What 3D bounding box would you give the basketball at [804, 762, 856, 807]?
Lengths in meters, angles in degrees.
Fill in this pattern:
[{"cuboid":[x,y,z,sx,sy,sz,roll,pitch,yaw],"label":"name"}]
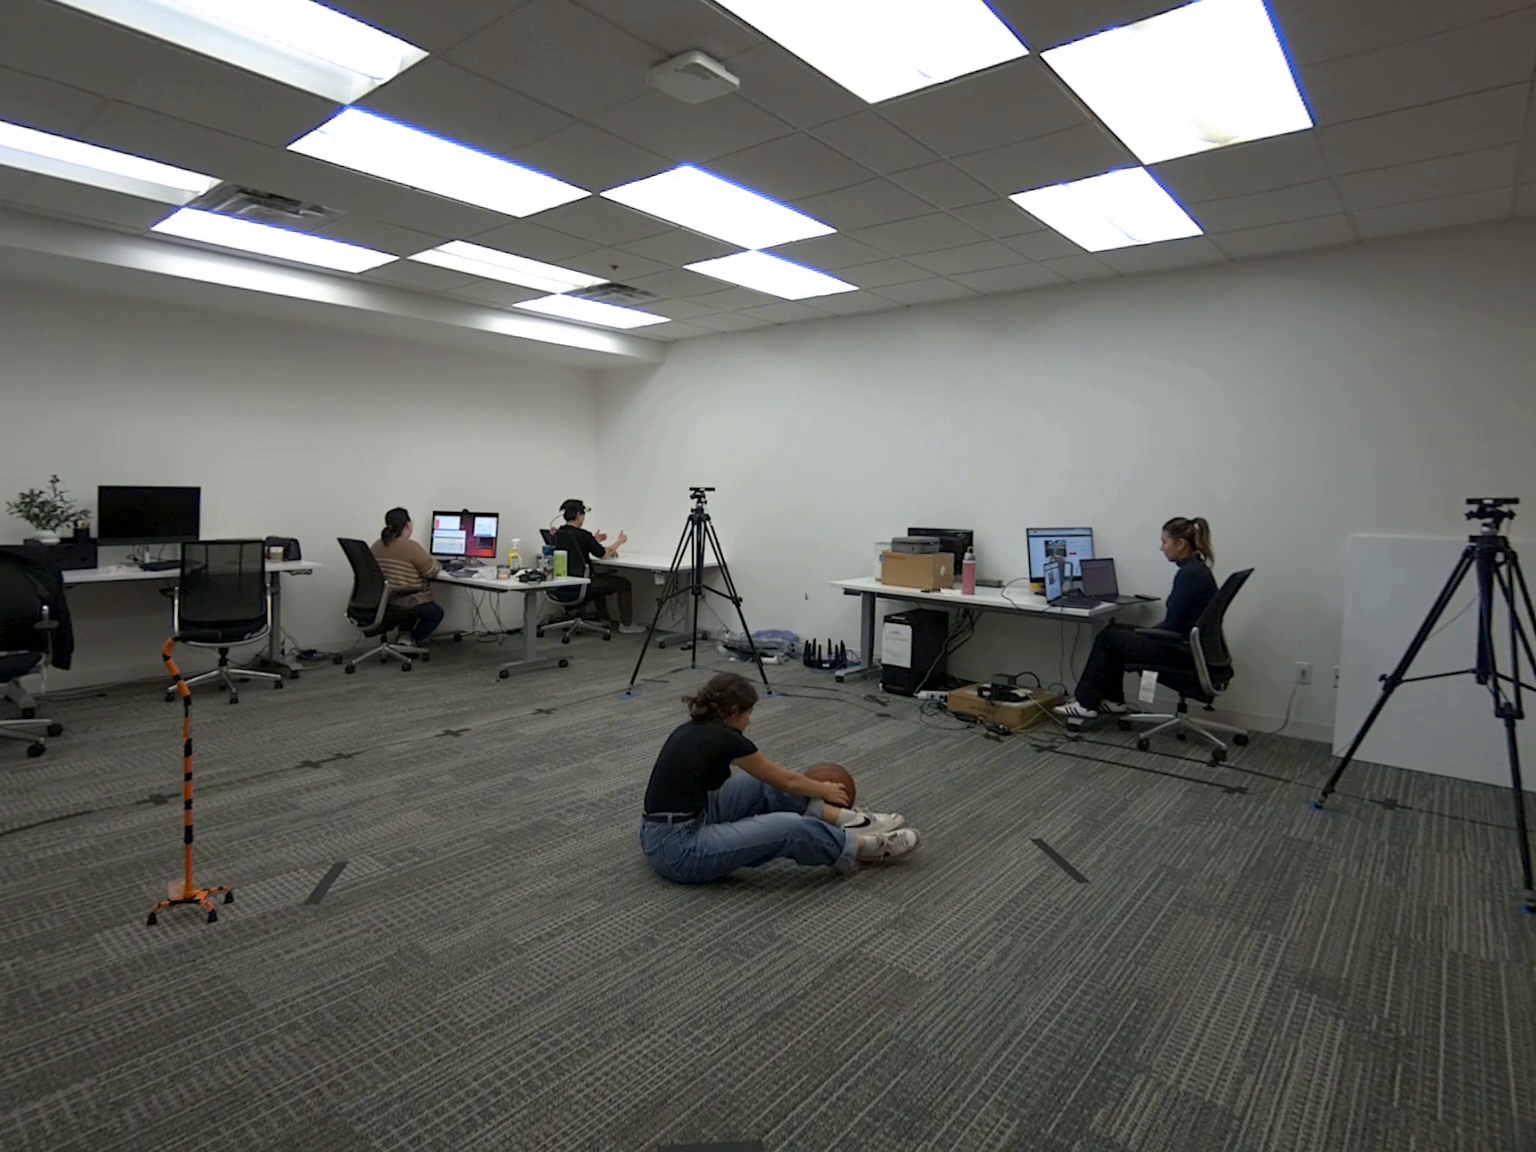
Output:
[{"cuboid":[0.245,0.905,3.599,0.235,0.235,0.237,1,4,-2],"label":"basketball"}]
